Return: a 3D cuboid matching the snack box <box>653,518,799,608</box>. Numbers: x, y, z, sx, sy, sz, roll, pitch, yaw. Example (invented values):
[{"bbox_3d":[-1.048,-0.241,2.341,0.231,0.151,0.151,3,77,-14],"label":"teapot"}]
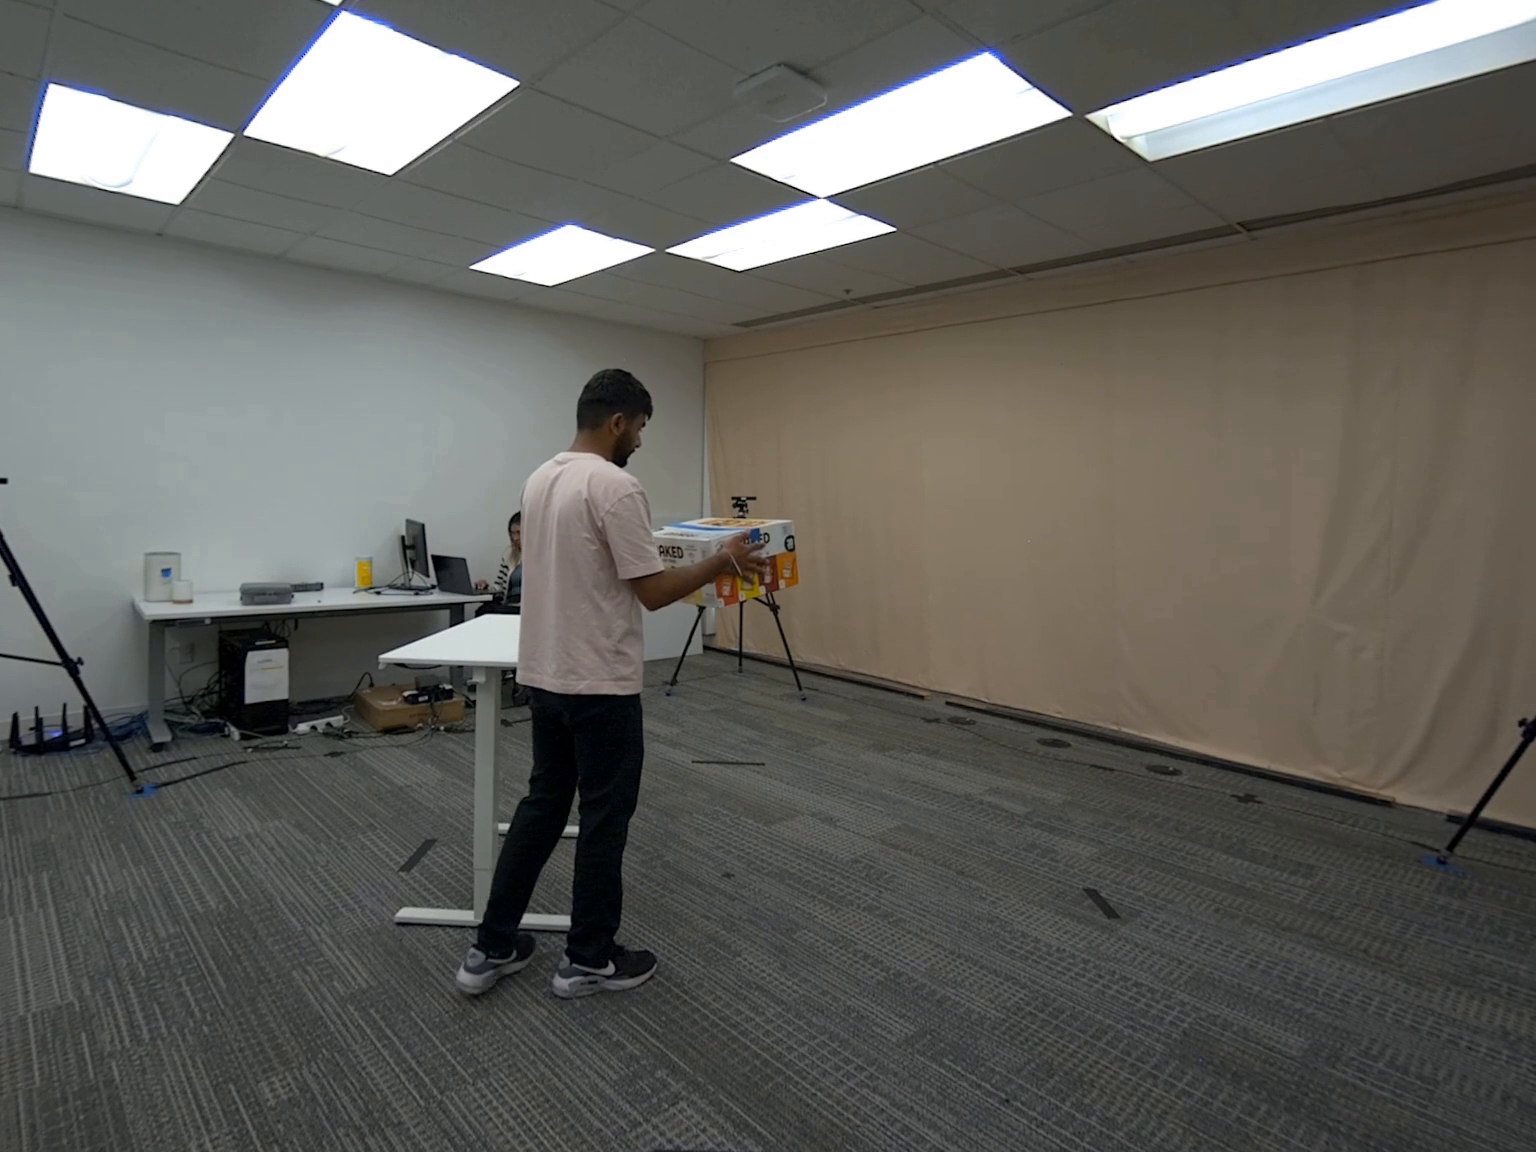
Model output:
[{"bbox_3d":[-0.185,-0.053,2.640,0.334,0.204,0.415,-15,14,-42],"label":"snack box"}]
